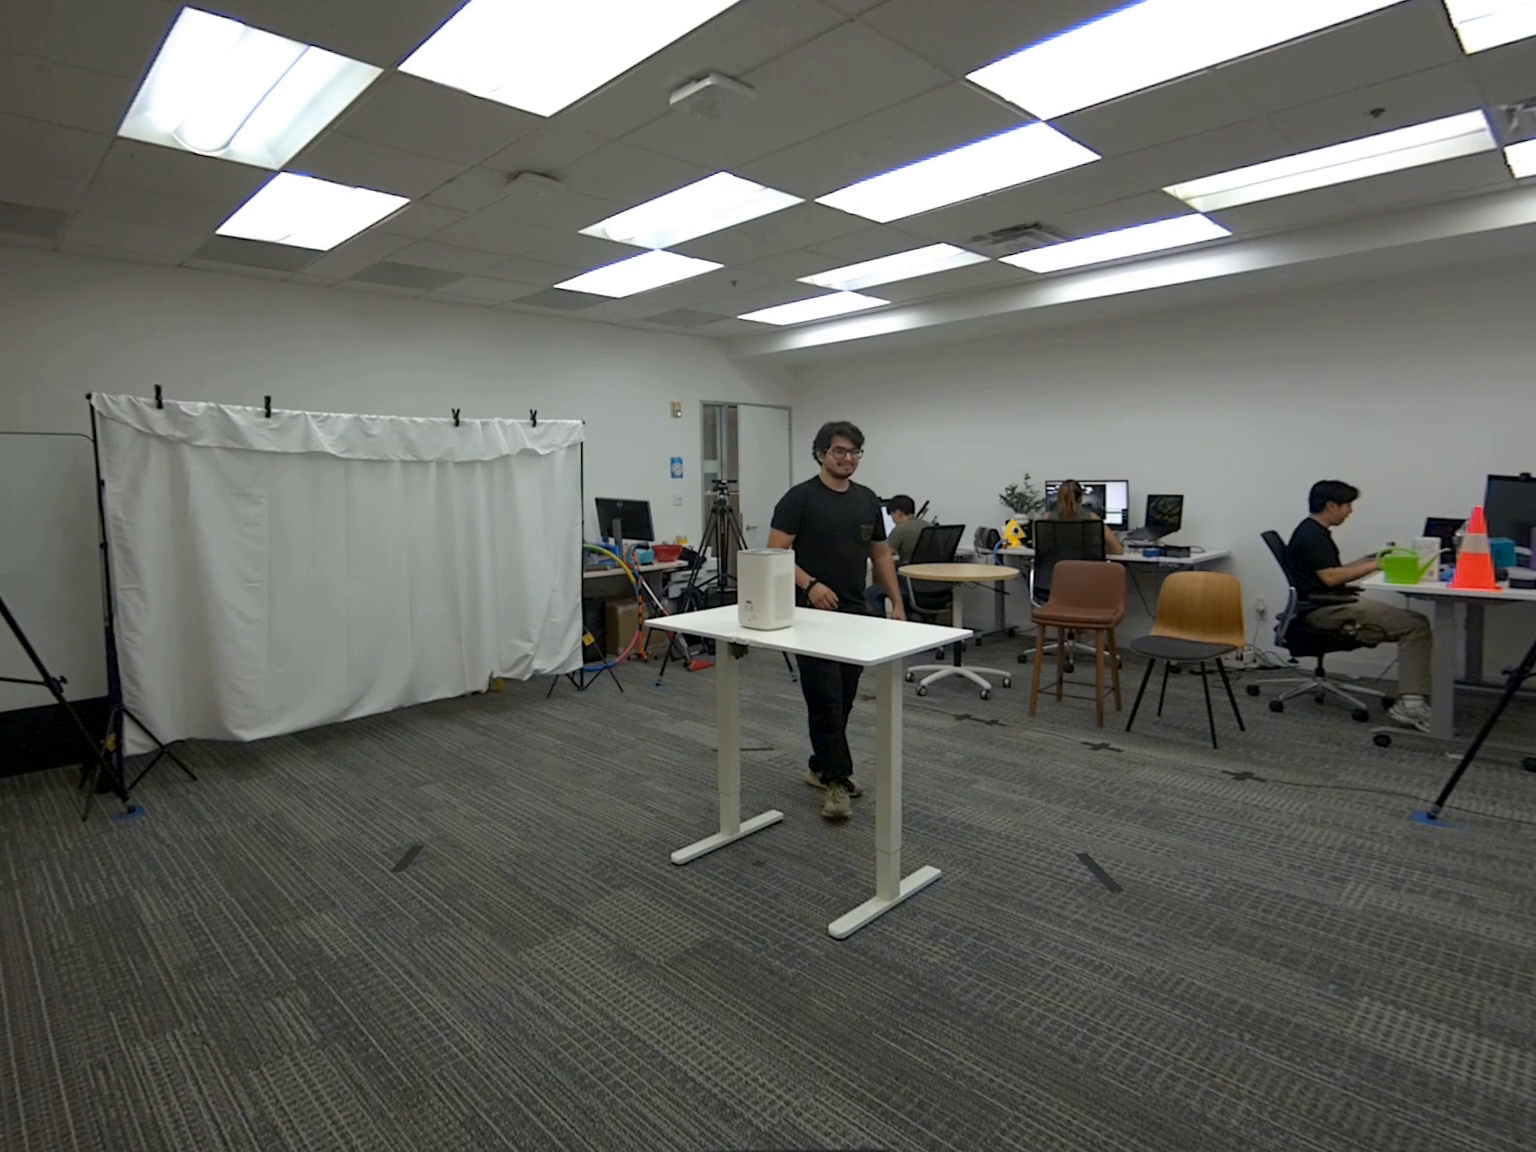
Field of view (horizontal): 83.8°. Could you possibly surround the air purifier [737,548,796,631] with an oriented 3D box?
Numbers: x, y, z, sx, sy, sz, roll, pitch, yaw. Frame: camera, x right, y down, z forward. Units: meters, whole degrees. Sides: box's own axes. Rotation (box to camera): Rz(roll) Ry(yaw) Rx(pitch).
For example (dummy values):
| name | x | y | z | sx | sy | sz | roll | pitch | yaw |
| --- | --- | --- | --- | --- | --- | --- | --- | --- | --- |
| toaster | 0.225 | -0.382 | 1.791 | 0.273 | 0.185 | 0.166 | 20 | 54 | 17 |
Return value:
| name | x | y | z | sx | sy | sz | roll | pitch | yaw |
| --- | --- | --- | --- | --- | --- | --- | --- | --- | --- |
| air purifier | -0.001 | 0.044 | 2.978 | 0.167 | 0.264 | 0.176 | -5 | 7 | -45 |
